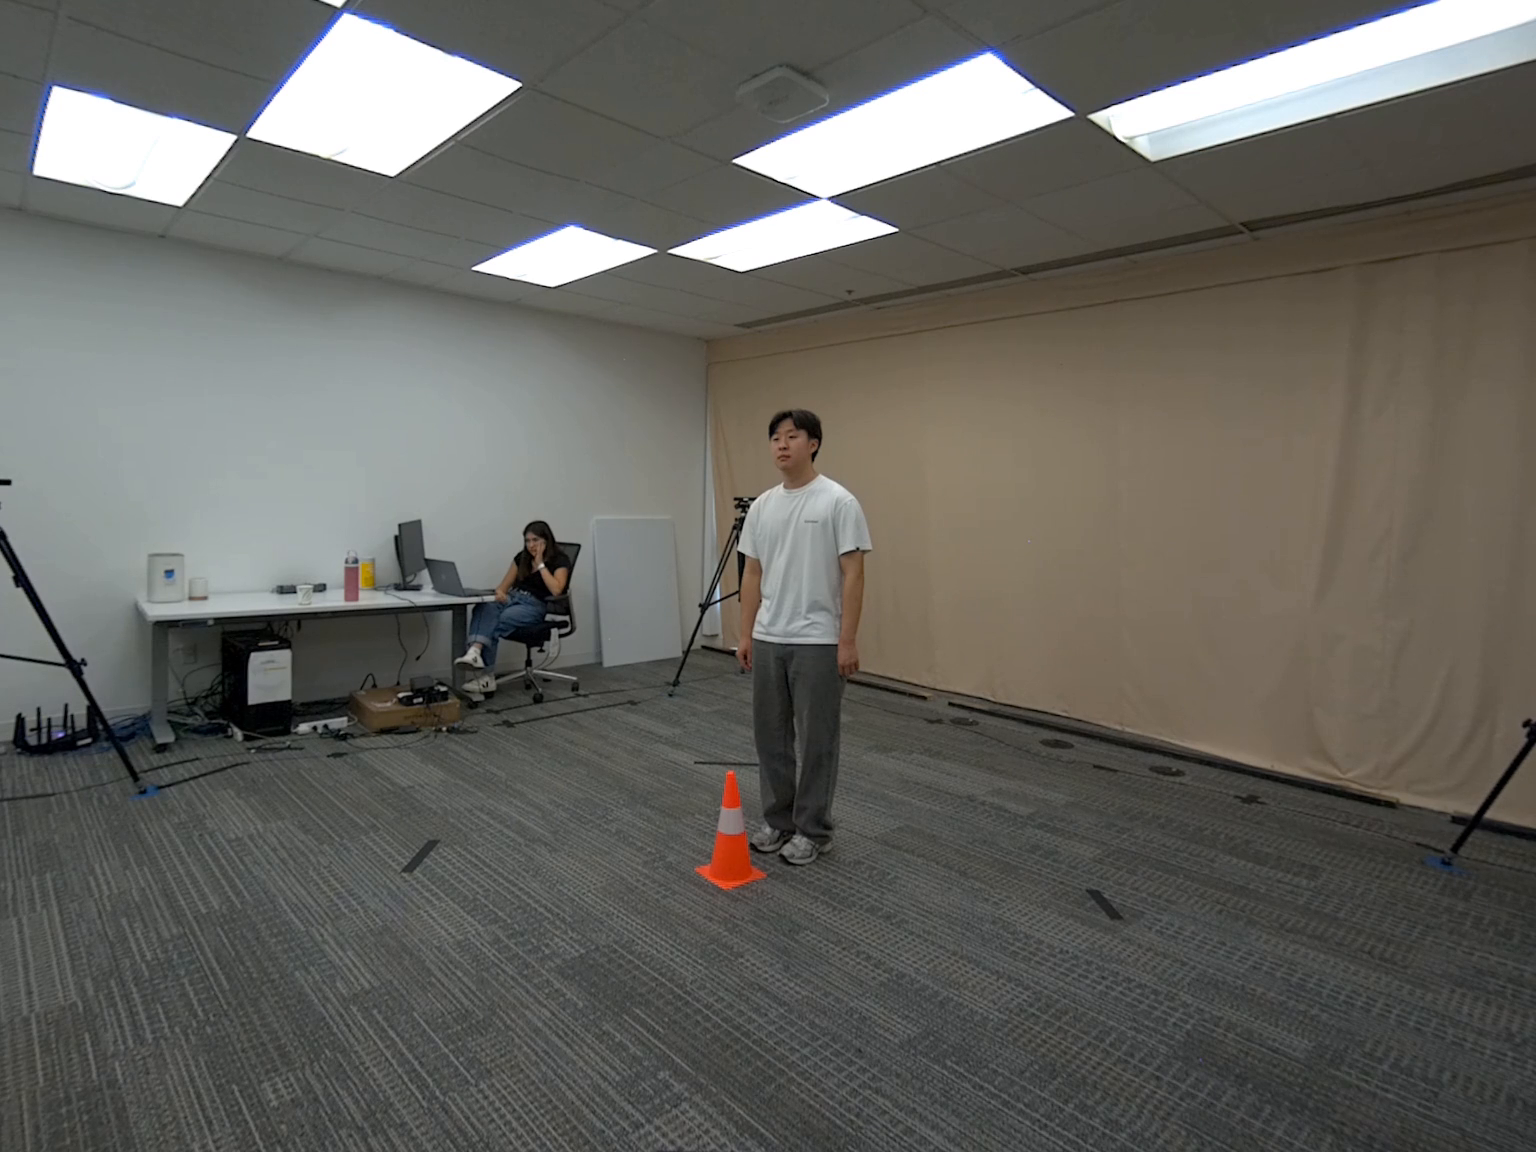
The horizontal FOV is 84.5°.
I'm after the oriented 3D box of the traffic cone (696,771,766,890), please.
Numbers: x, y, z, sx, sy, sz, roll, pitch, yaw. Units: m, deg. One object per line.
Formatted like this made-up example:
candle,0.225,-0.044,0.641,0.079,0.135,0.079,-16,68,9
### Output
traffic cone,-0.152,0.924,3.117,0.201,0.383,0.208,-3,4,-34
